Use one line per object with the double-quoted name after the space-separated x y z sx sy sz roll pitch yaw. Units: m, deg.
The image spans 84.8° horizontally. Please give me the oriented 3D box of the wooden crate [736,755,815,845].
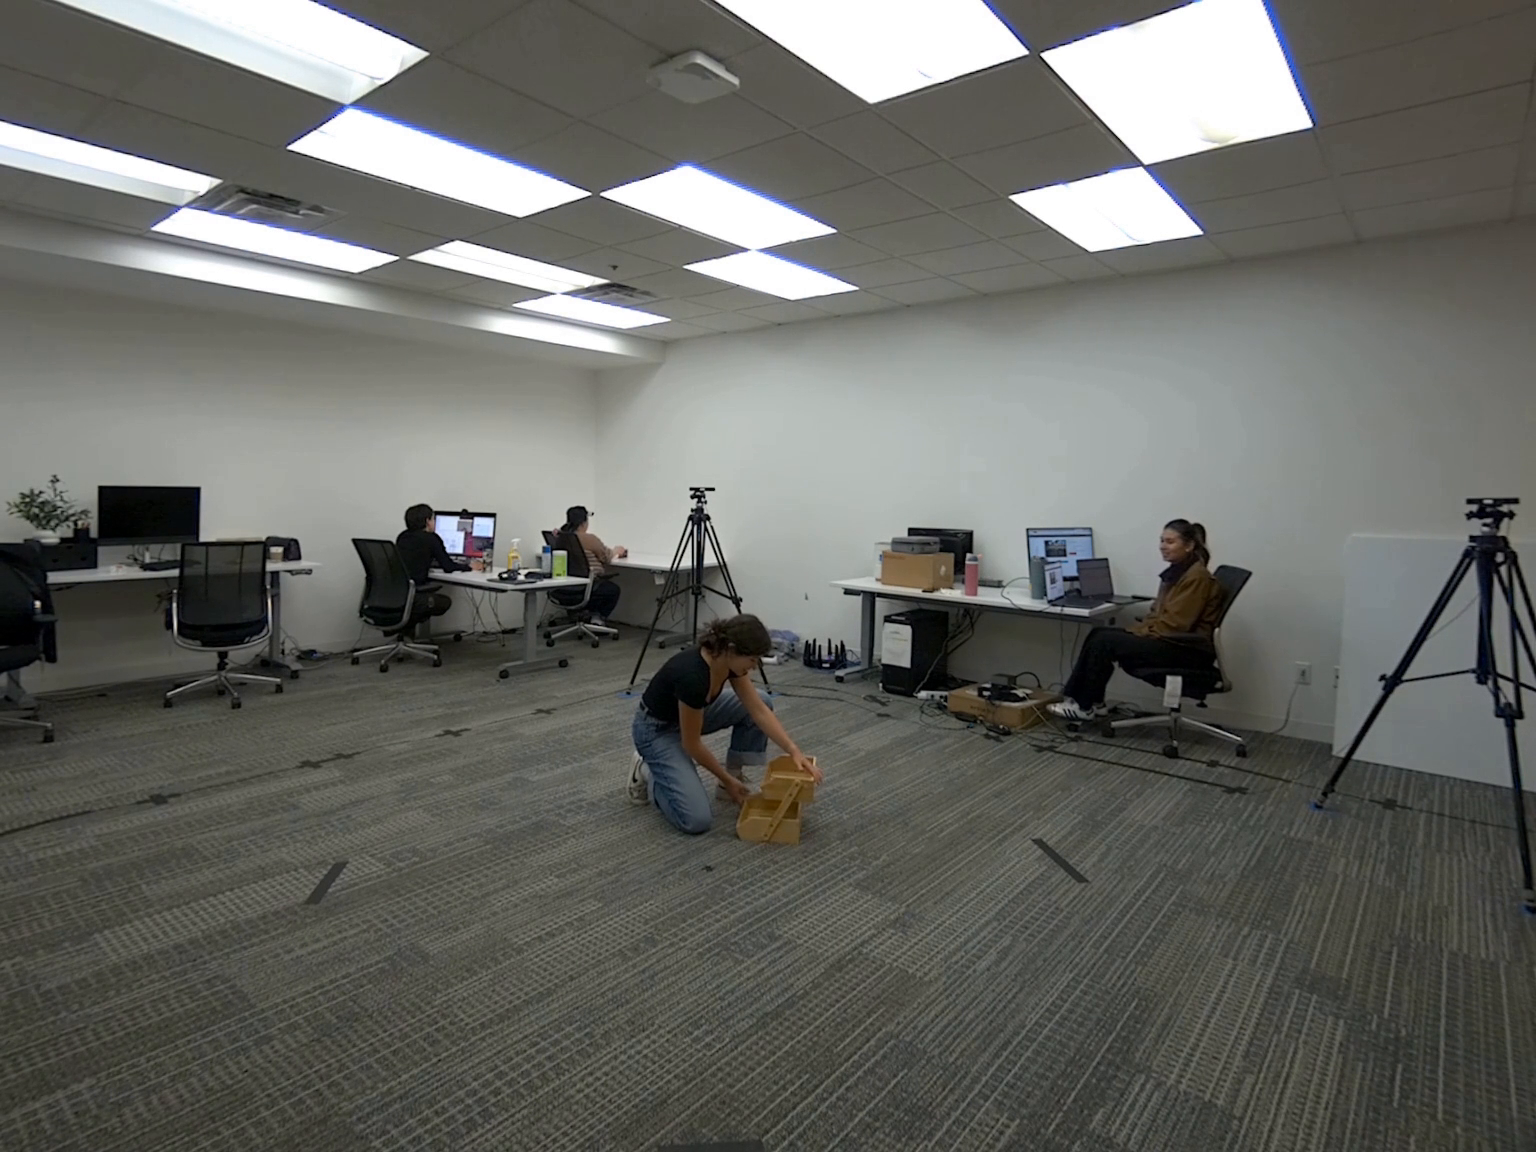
0.026 0.898 3.496 0.304 0.272 0.324 1 5 4 "wooden crate"
